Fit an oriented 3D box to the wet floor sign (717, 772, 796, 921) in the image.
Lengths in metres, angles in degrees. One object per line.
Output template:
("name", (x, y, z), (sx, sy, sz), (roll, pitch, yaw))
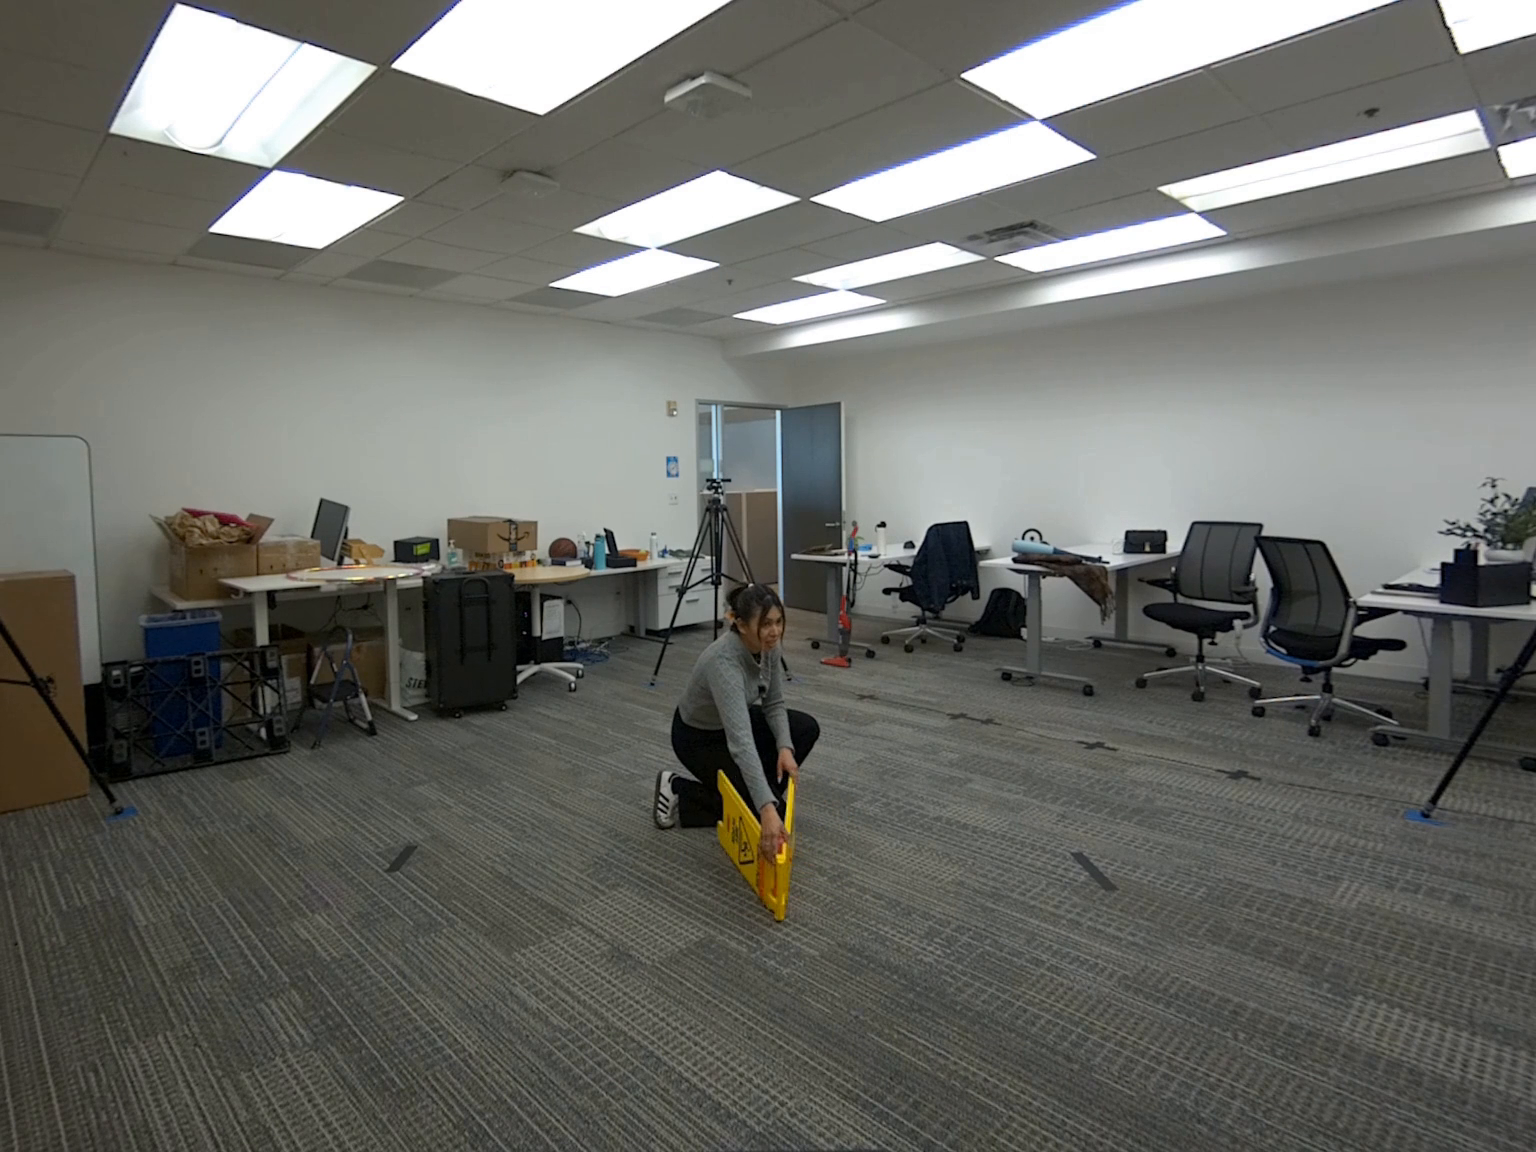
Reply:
("wet floor sign", (-0.009, 0.937, 2.977), (0.288, 0.280, 0.654), (-2, 9, -7))
